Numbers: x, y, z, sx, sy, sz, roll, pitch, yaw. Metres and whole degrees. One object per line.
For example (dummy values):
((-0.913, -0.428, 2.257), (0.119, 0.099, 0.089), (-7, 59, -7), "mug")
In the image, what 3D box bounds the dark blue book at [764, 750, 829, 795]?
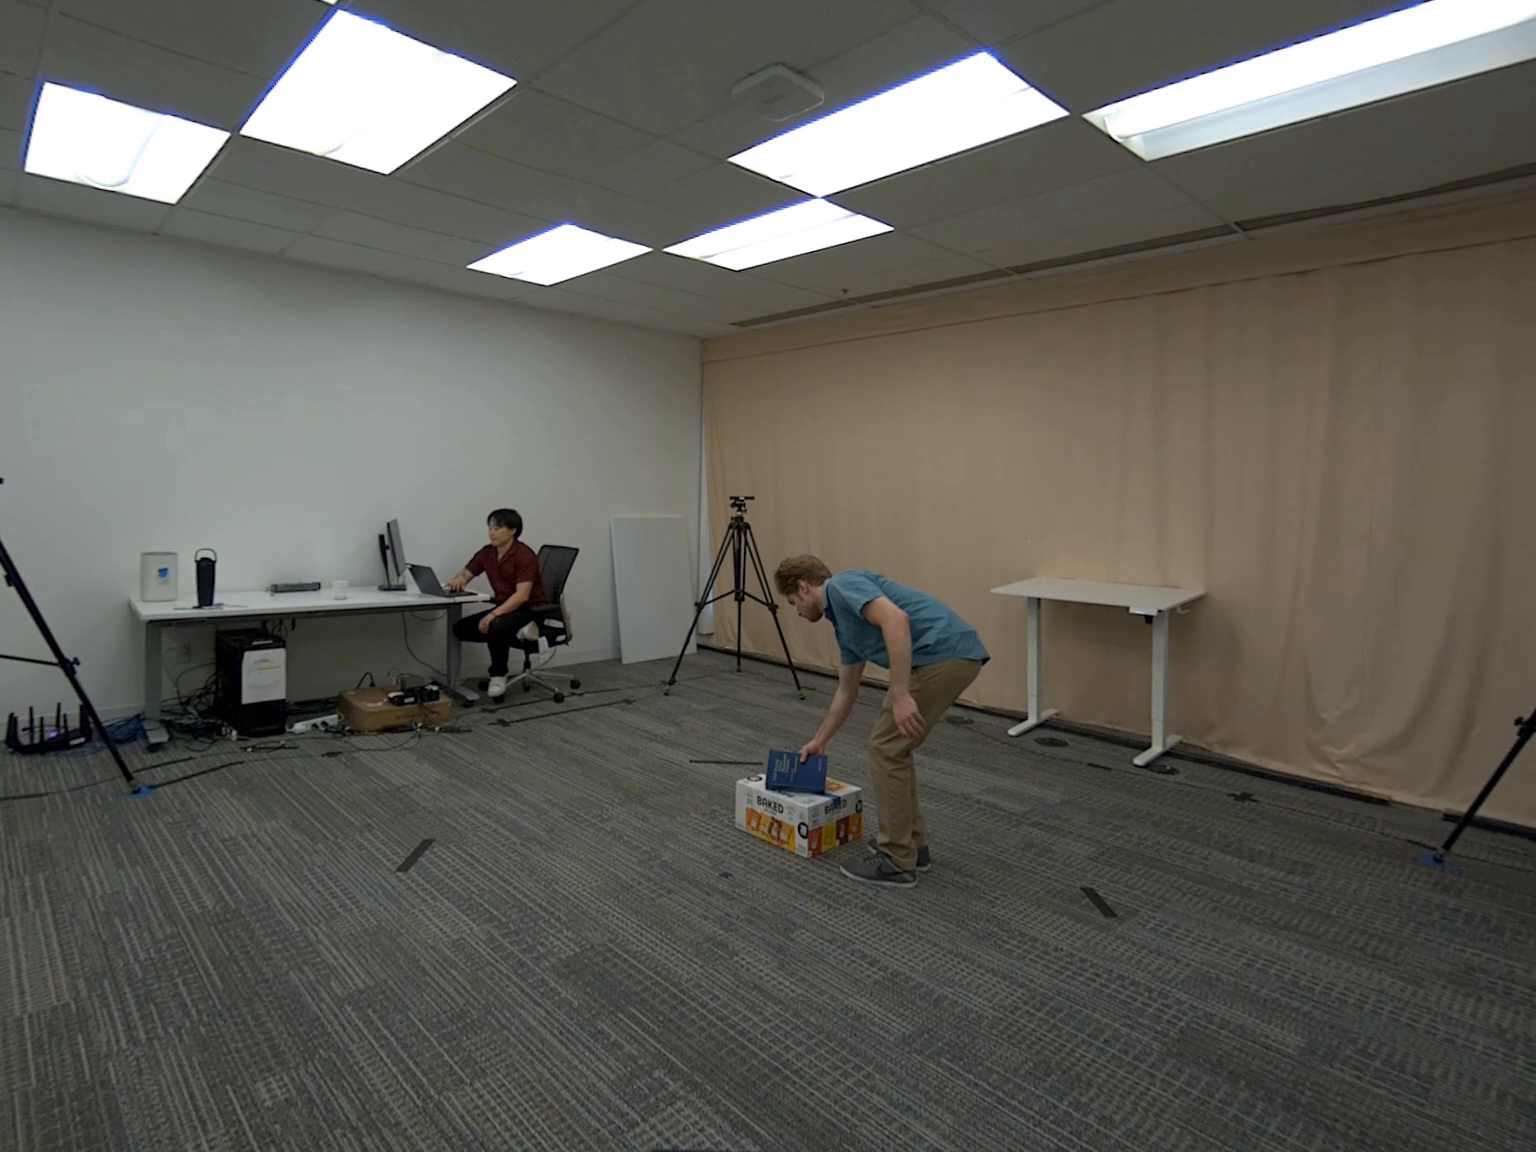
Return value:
((0.101, 0.800, 3.493), (0.247, 0.166, 0.044), (2, -40, 8), "dark blue book")
